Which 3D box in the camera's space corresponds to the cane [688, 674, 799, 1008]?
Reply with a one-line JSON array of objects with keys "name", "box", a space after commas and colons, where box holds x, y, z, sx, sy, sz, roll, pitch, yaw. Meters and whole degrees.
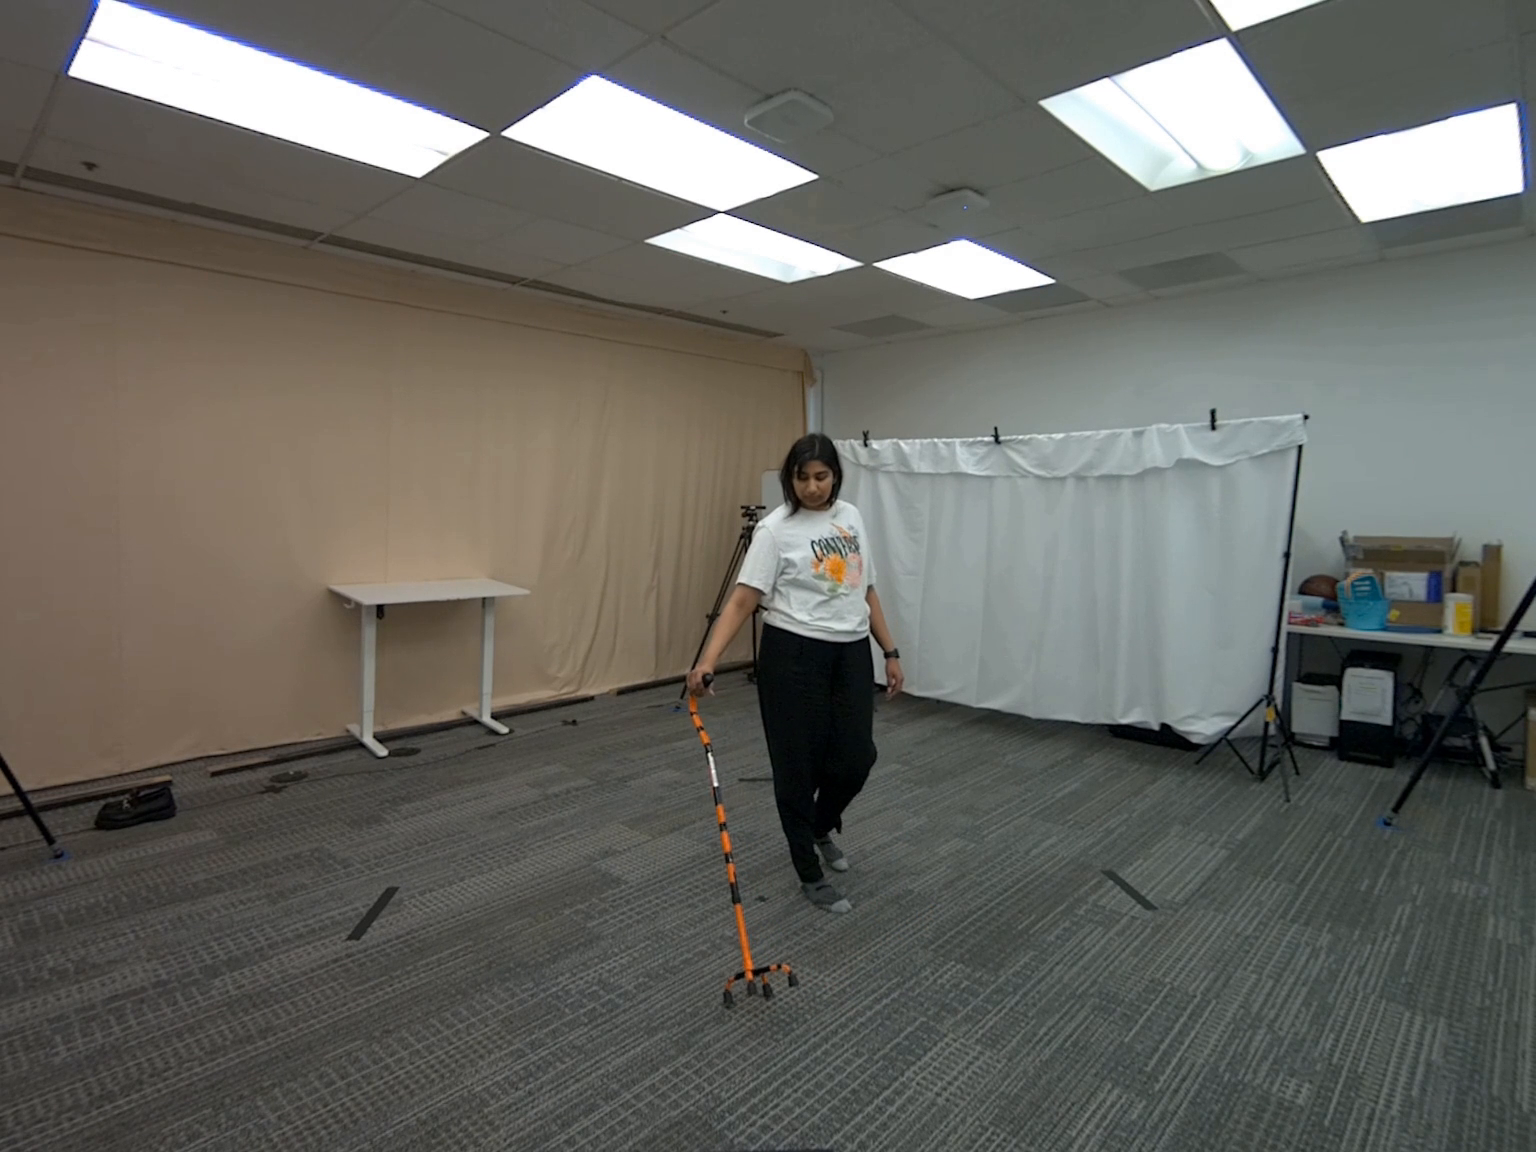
[{"name": "cane", "box": [-0.111, 0.751, 2.510, 0.148, 0.928, 0.206, 0, -31, -23]}]
